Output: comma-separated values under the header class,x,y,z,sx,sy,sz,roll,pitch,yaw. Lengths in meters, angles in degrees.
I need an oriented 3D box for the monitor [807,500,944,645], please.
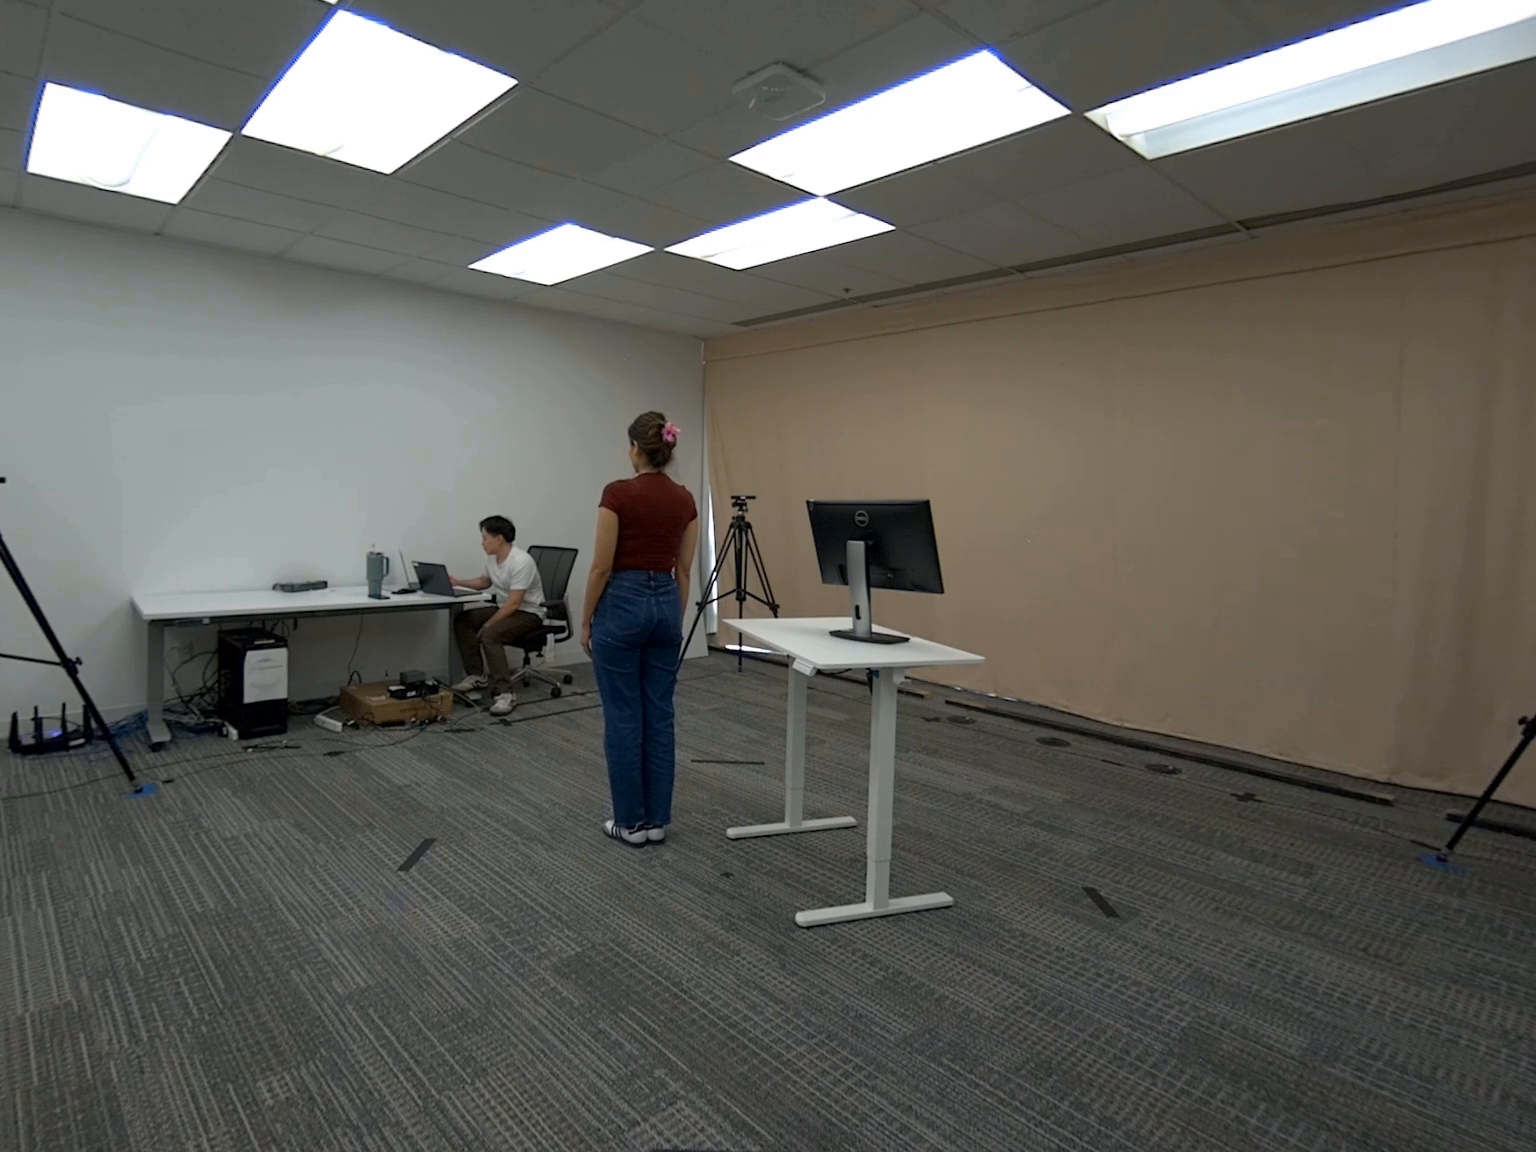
class,x,y,z,sx,sy,sz,roll,pitch,yaw
monitor,0.355,-0.022,3.109,0.552,0.520,0.183,3,7,40
